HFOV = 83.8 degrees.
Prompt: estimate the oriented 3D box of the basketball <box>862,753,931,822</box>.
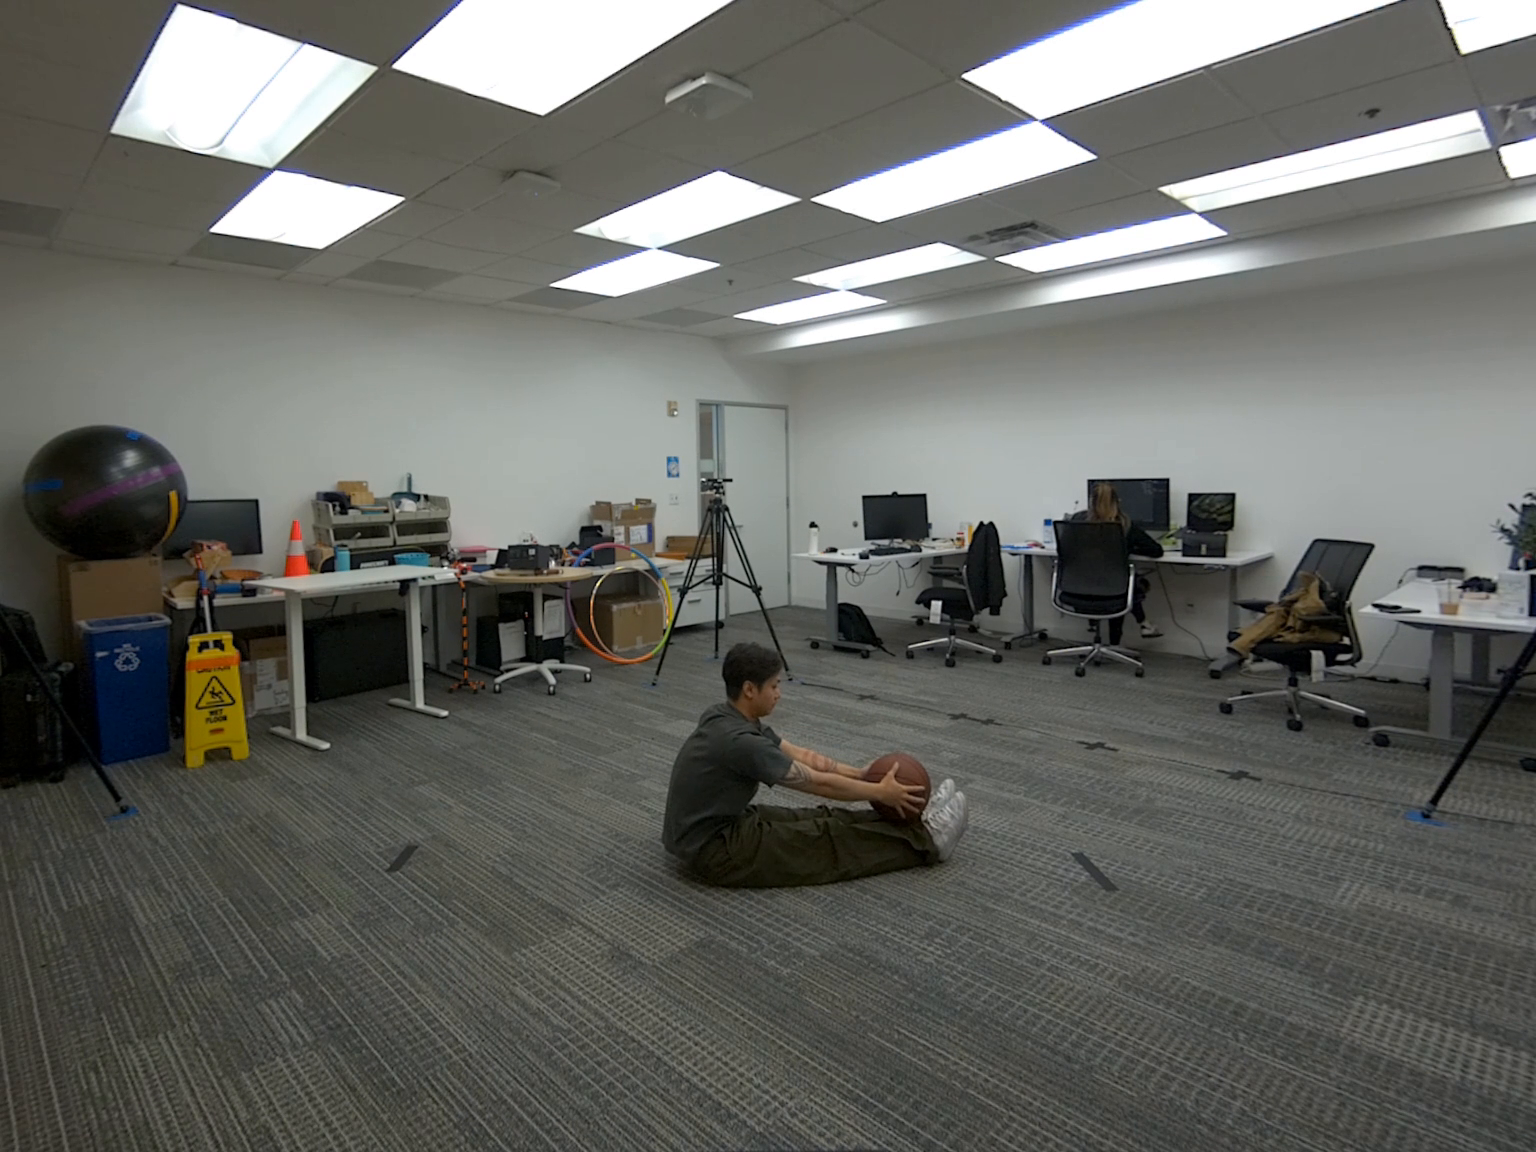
[{"bbox_3d":[0.476,0.767,3.134,0.236,0.235,0.237,-1,5,-2],"label":"basketball"}]
